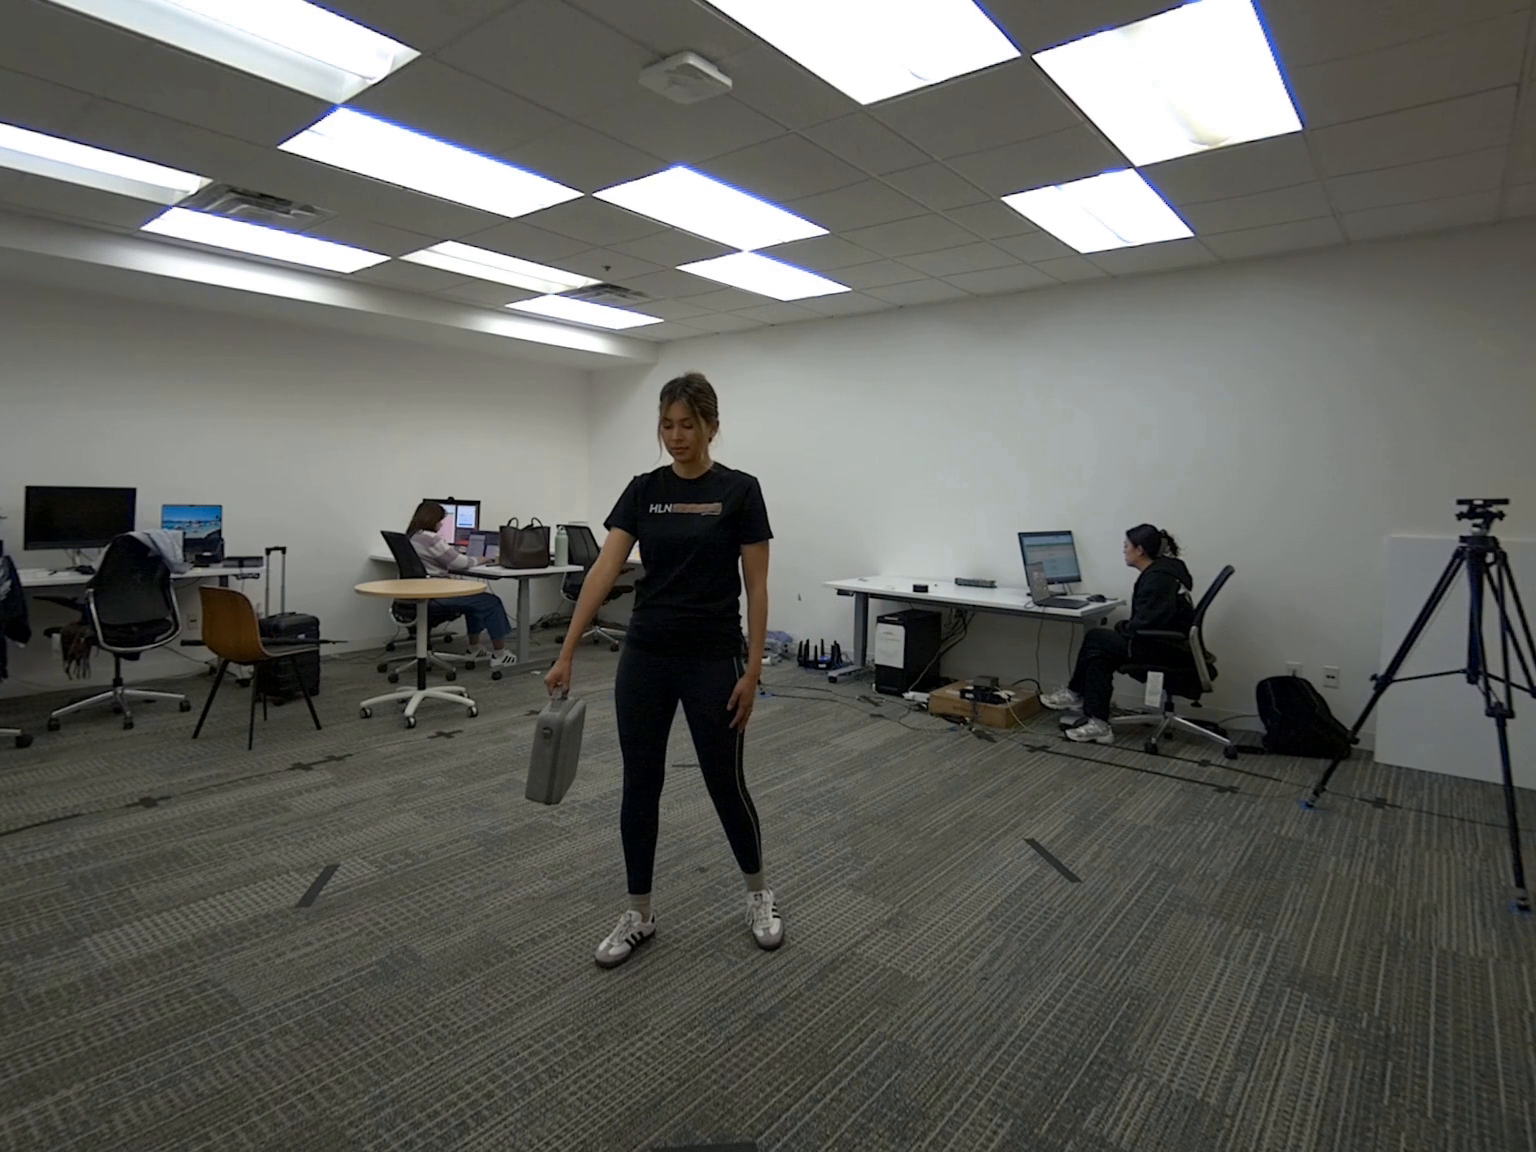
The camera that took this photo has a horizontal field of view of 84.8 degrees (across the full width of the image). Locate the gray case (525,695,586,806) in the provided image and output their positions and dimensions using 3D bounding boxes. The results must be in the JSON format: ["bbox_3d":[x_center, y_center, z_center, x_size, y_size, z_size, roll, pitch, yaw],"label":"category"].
[{"bbox_3d":[-0.609,0.487,2.417,0.104,0.260,0.257,7,3,-1],"label":"gray case"}]
